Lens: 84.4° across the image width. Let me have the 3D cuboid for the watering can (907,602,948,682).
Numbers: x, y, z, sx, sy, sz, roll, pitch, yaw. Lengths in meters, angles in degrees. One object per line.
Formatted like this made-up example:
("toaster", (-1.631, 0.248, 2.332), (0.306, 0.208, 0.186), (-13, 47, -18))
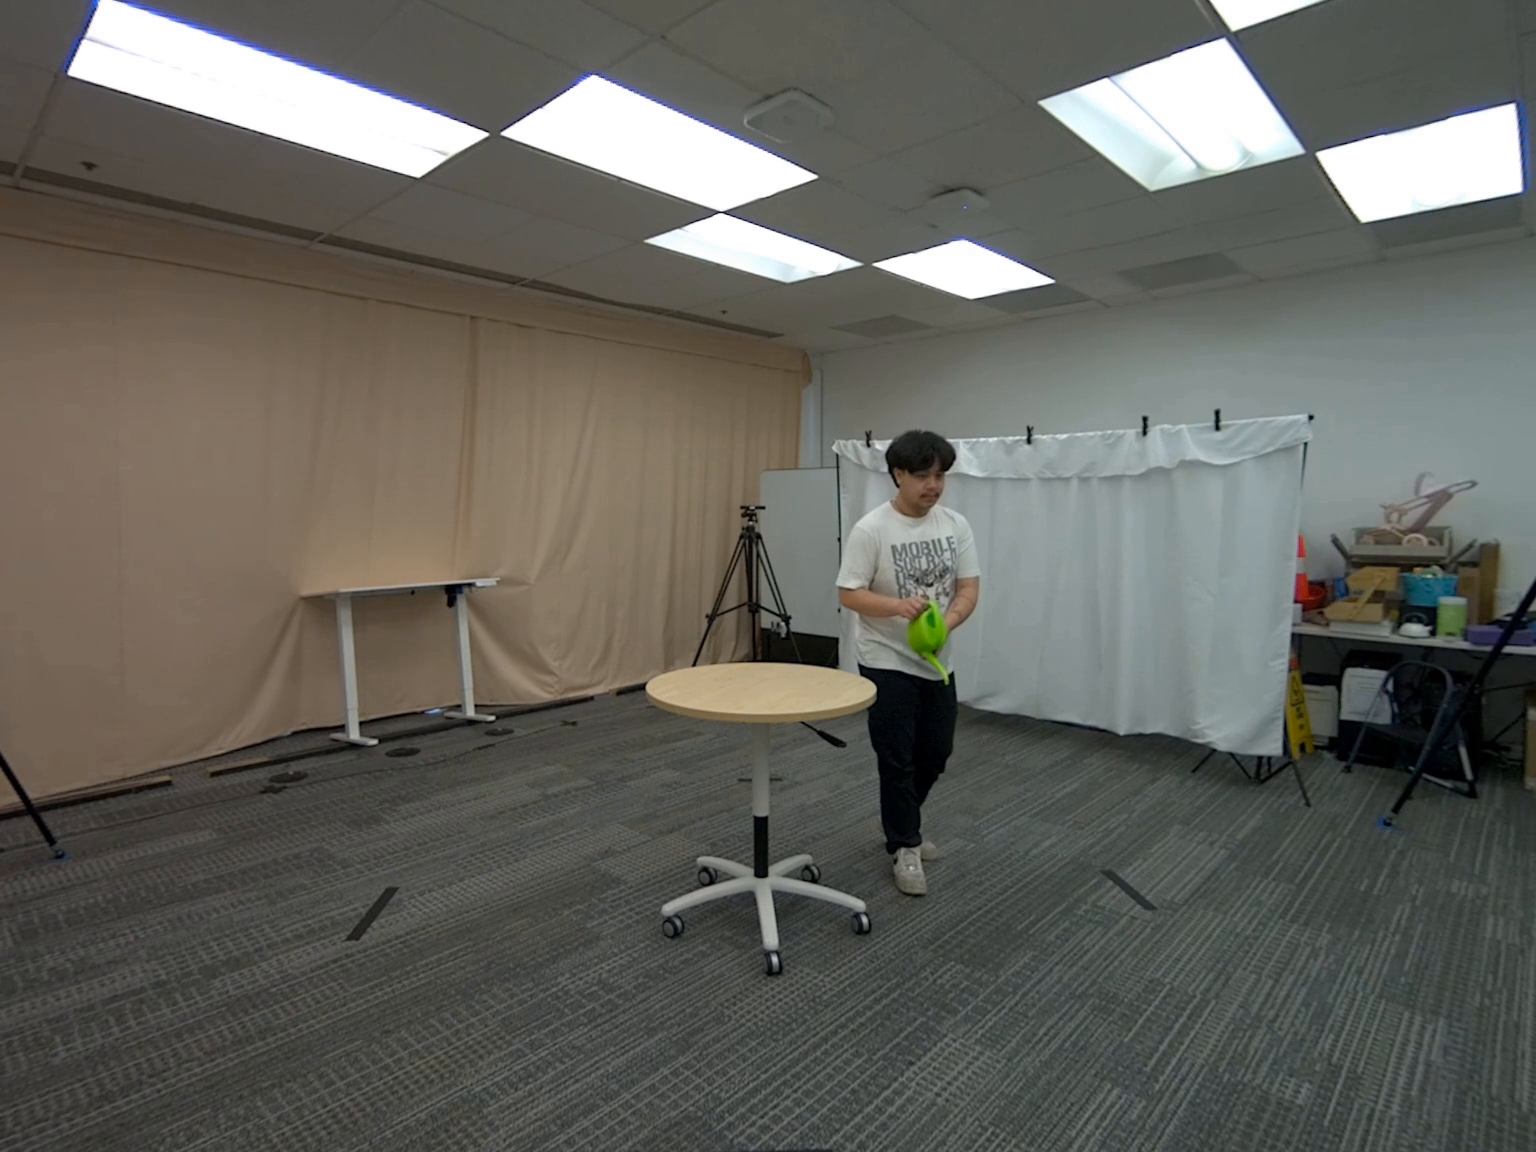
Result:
("watering can", (0.534, 0.227, 2.814), (0.097, 0.281, 0.176), (7, -19, -6))
